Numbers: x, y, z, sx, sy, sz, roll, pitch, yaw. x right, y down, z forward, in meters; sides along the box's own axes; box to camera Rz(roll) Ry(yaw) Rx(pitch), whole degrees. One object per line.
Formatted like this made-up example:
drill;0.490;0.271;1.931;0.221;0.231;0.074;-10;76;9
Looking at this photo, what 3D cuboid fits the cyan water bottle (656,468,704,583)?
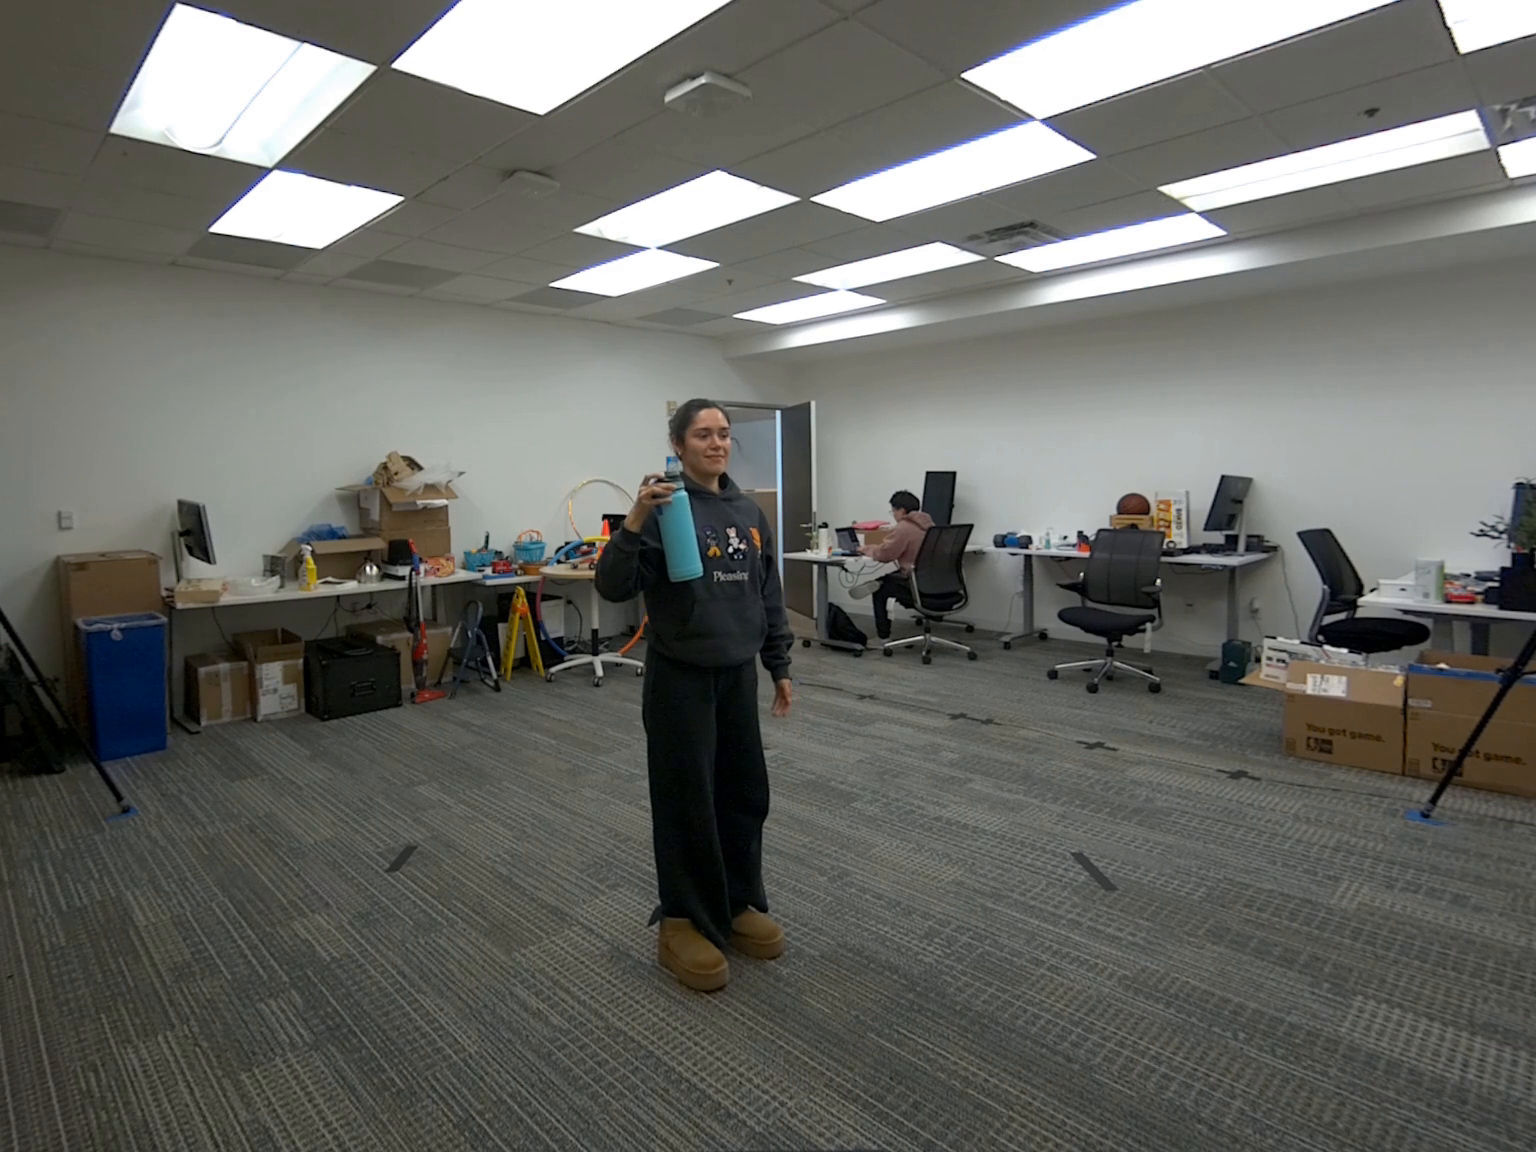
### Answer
cyan water bottle;-0.246;-0.130;2.206;0.092;0.281;0.093;-6;6;-1
